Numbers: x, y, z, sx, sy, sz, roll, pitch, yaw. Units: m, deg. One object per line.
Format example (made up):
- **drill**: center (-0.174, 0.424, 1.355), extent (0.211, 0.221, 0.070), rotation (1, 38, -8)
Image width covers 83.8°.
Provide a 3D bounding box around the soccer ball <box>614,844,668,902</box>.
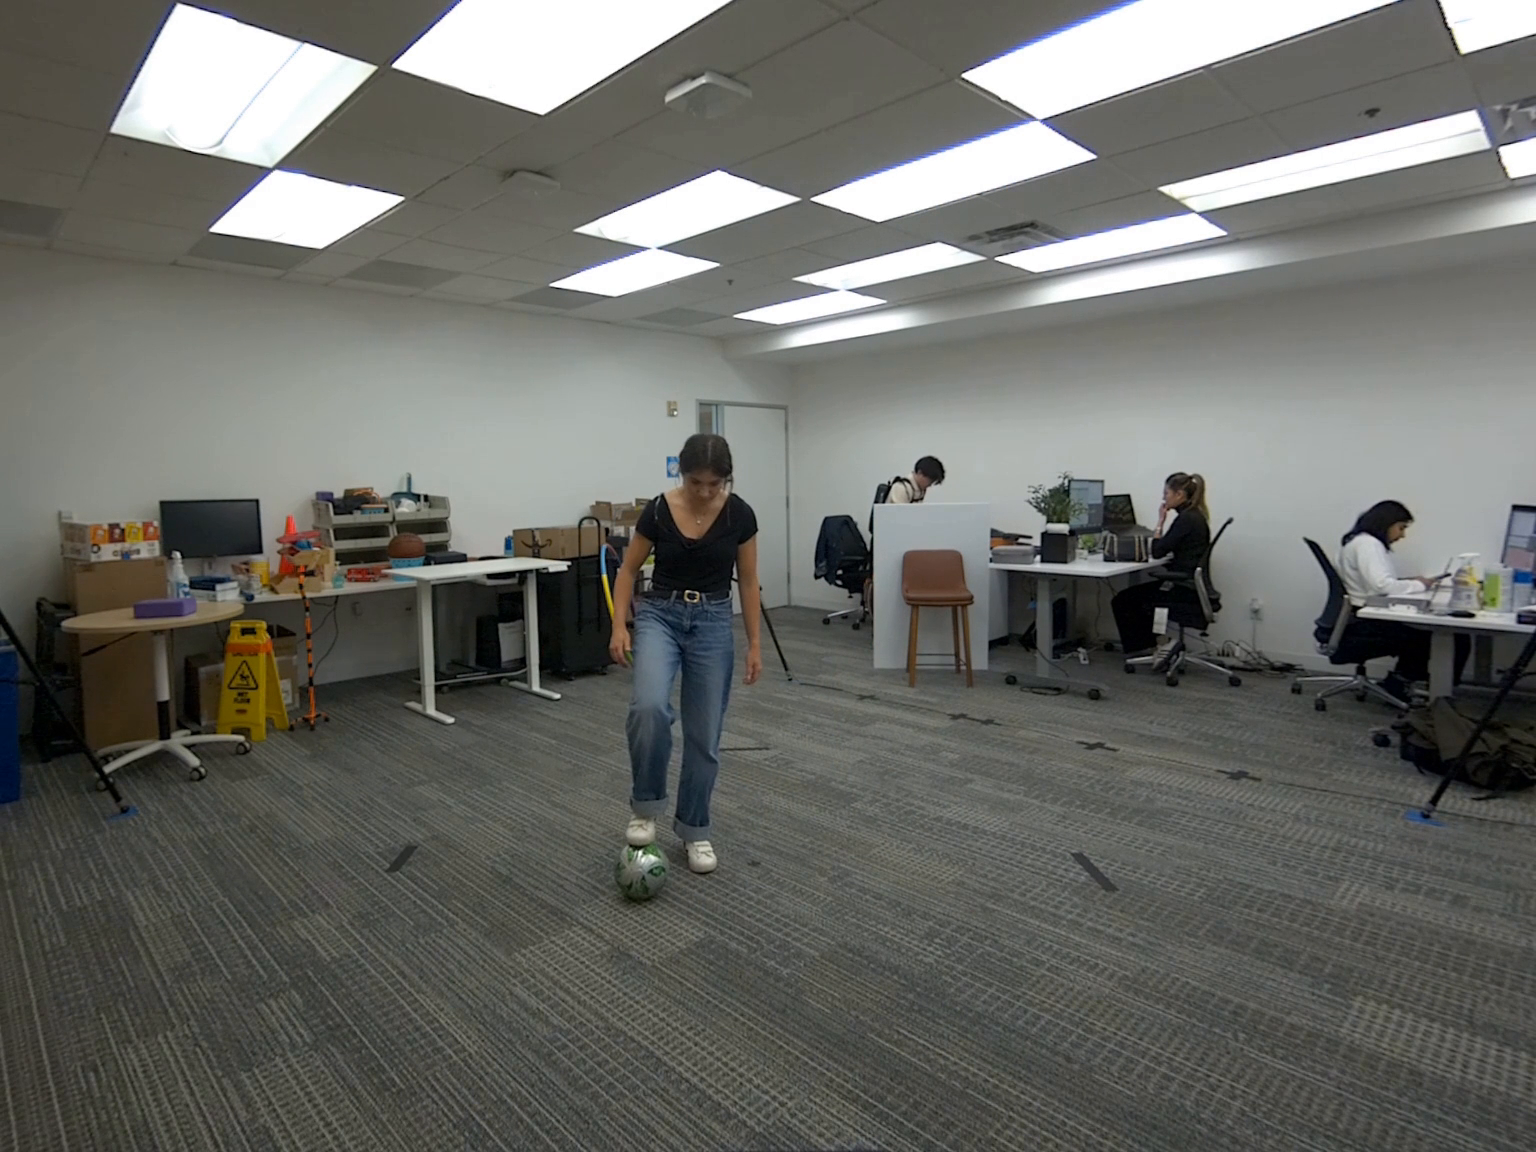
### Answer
- **soccer ball**: center (-0.421, 0.988, 2.883), extent (0.187, 0.187, 0.188), rotation (-1, 5, -2)
